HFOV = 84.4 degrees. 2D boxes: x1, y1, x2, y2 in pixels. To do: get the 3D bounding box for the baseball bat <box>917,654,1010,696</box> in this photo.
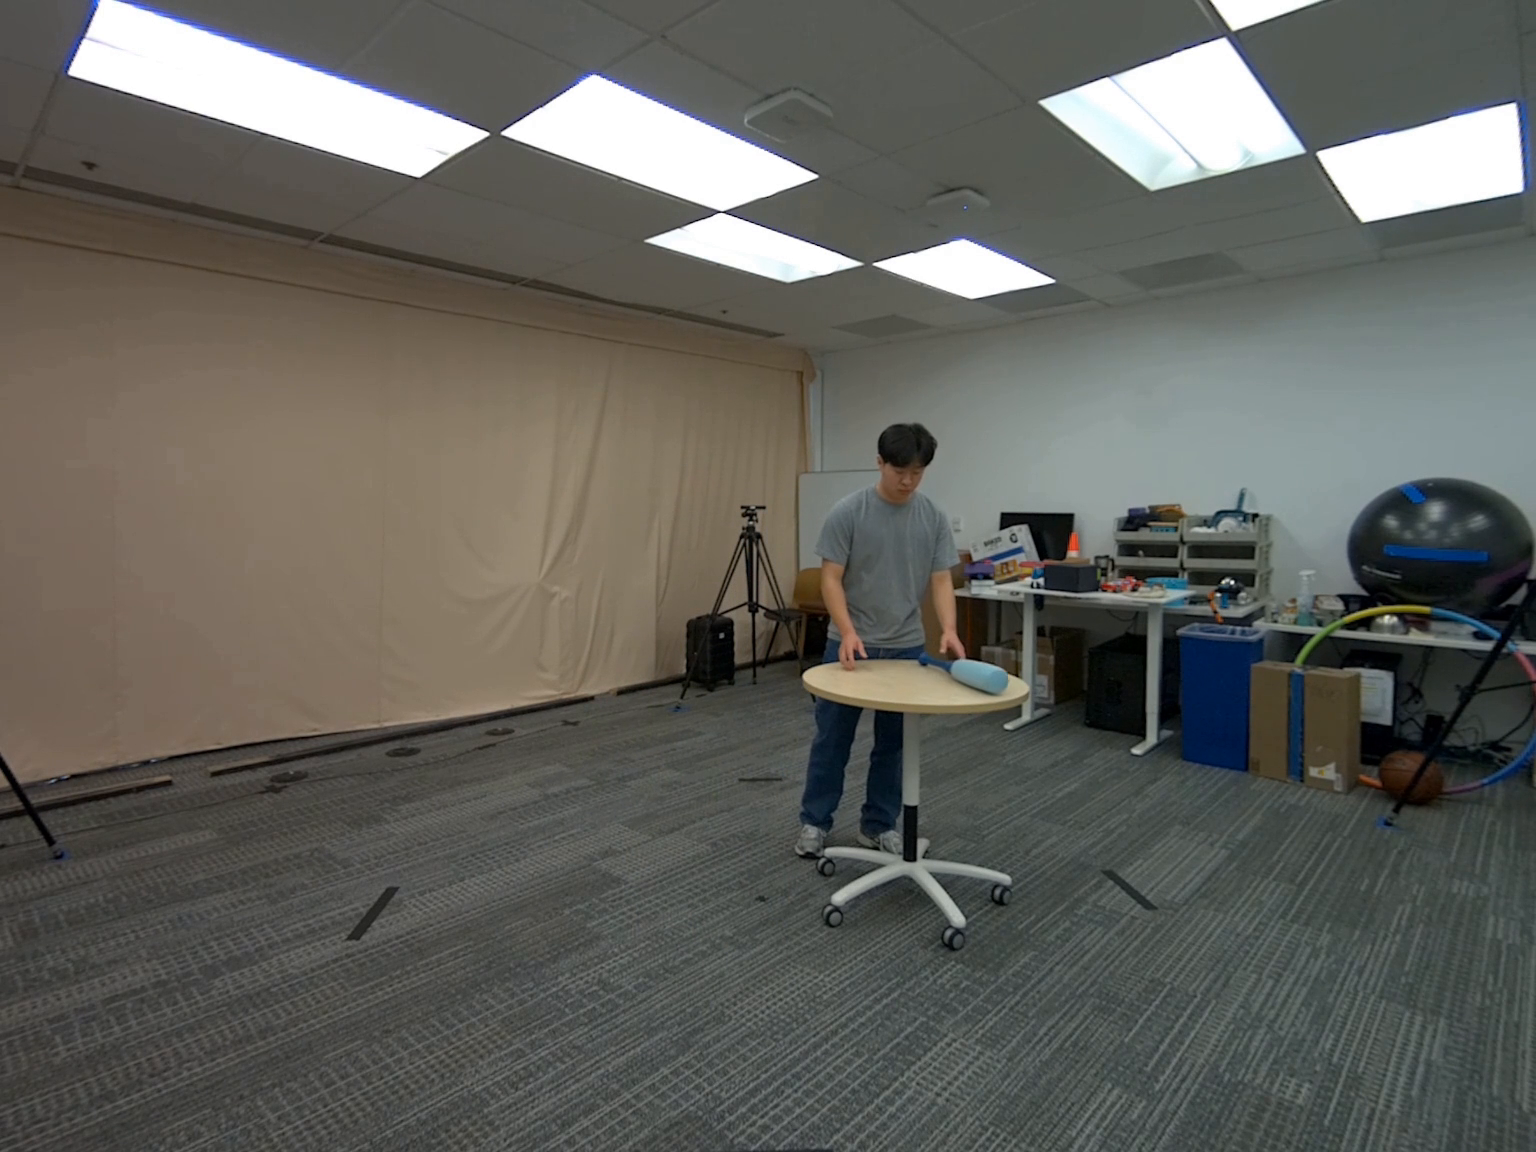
[{"bbox_3d":[0.664,0.326,2.946,0.088,0.089,0.551,-1,2,-14],"label":"baseball bat"}]
